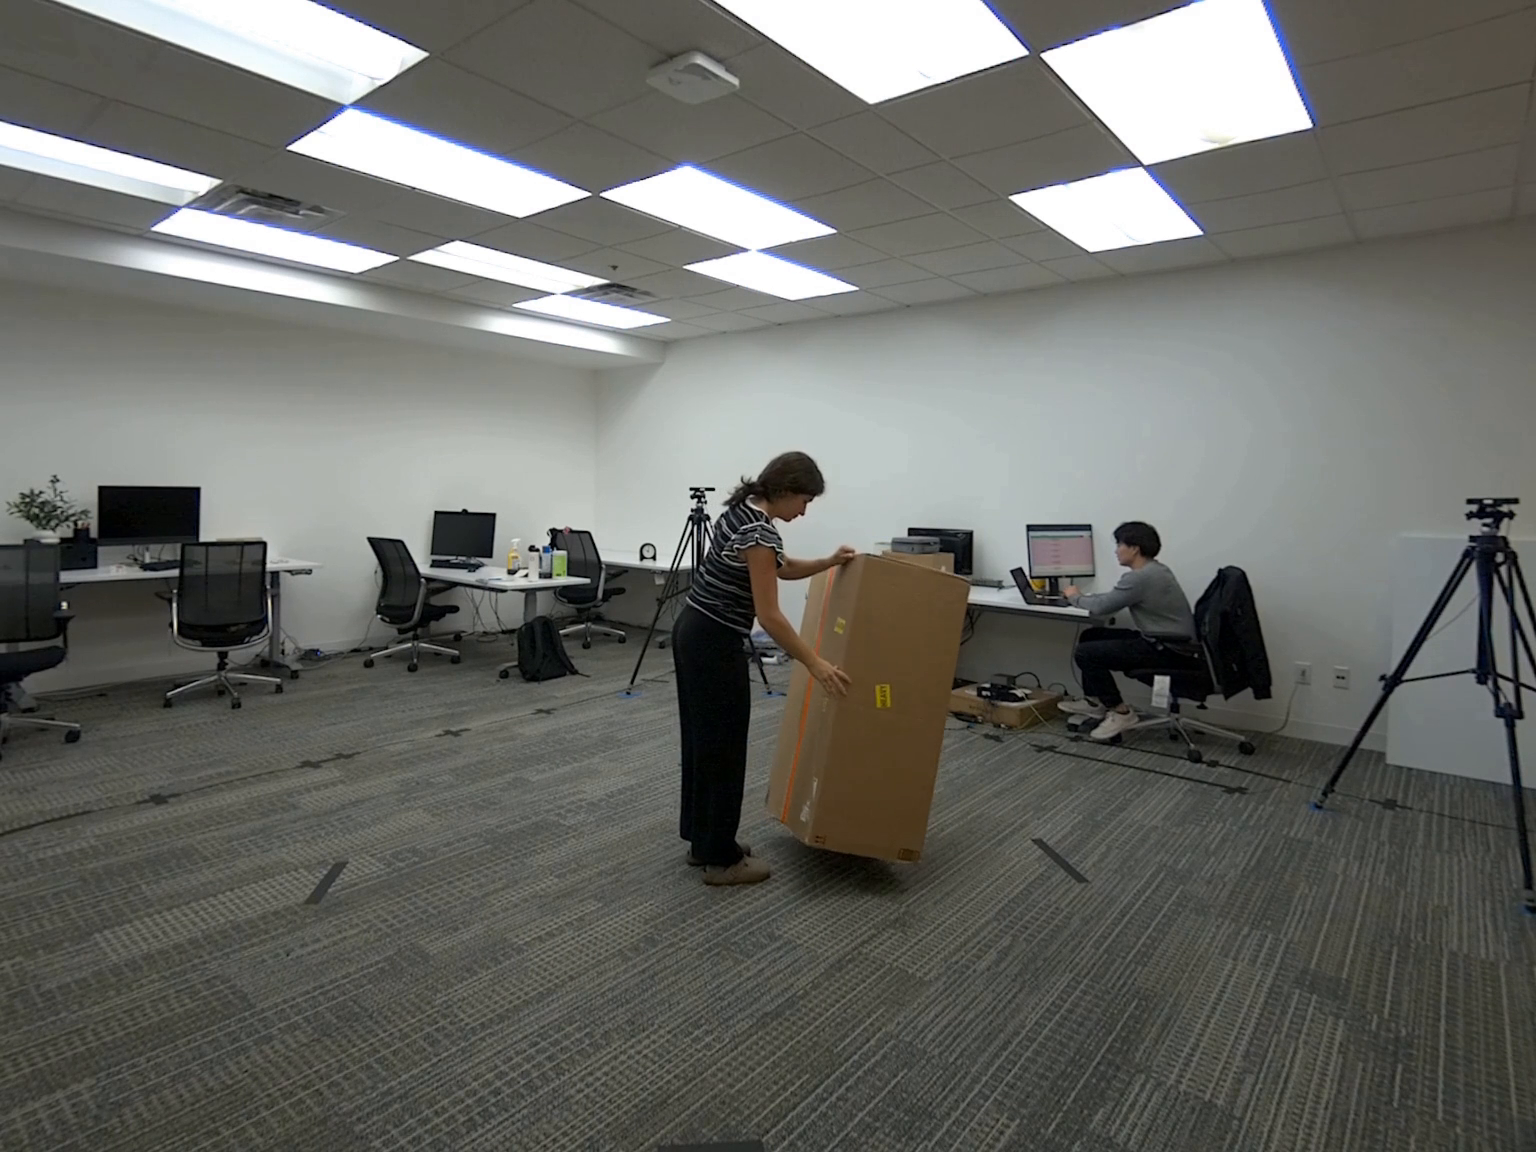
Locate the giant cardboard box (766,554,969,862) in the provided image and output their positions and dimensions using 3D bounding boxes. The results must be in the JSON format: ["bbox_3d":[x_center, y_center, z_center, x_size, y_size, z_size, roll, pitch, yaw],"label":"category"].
[{"bbox_3d":[0.352,0.475,3.249,0.420,1.031,0.583,13,-6,-13],"label":"giant cardboard box"}]
